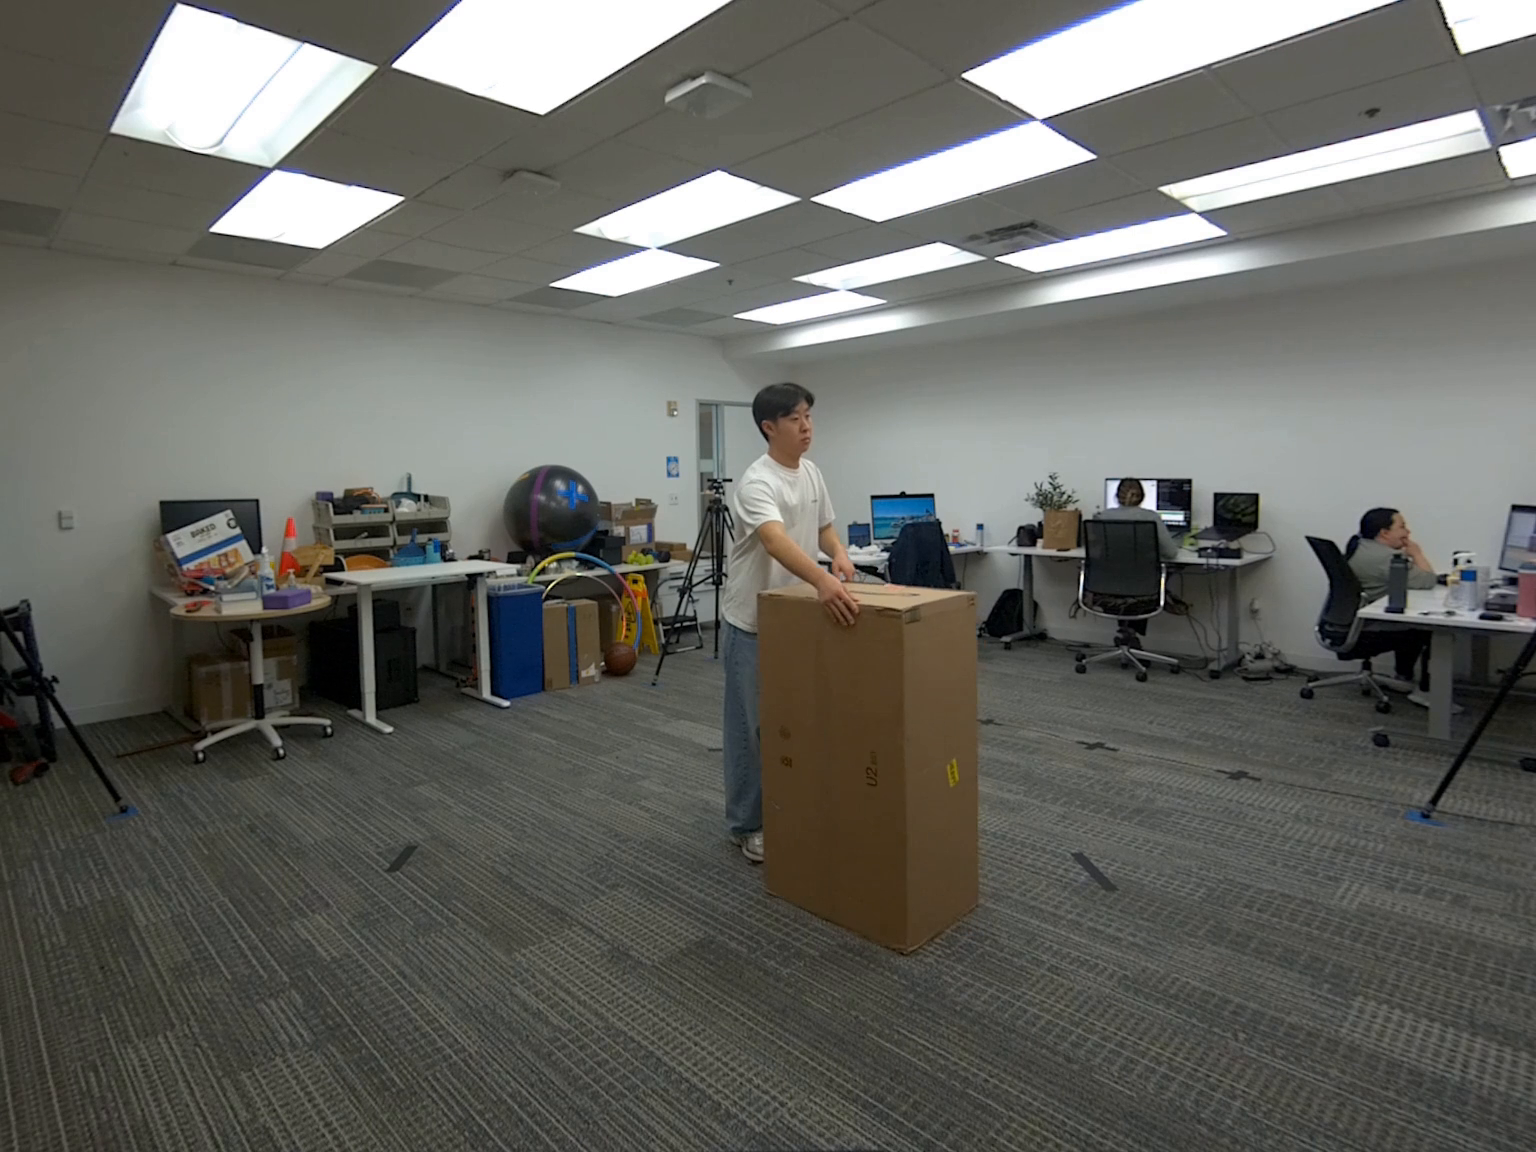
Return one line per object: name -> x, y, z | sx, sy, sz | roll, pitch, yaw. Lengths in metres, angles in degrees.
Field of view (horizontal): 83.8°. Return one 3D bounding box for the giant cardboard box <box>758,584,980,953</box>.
giant cardboard box -> 0.335, 0.566, 2.801 | 0.595, 1.022, 0.415 | 3, 6, 44
